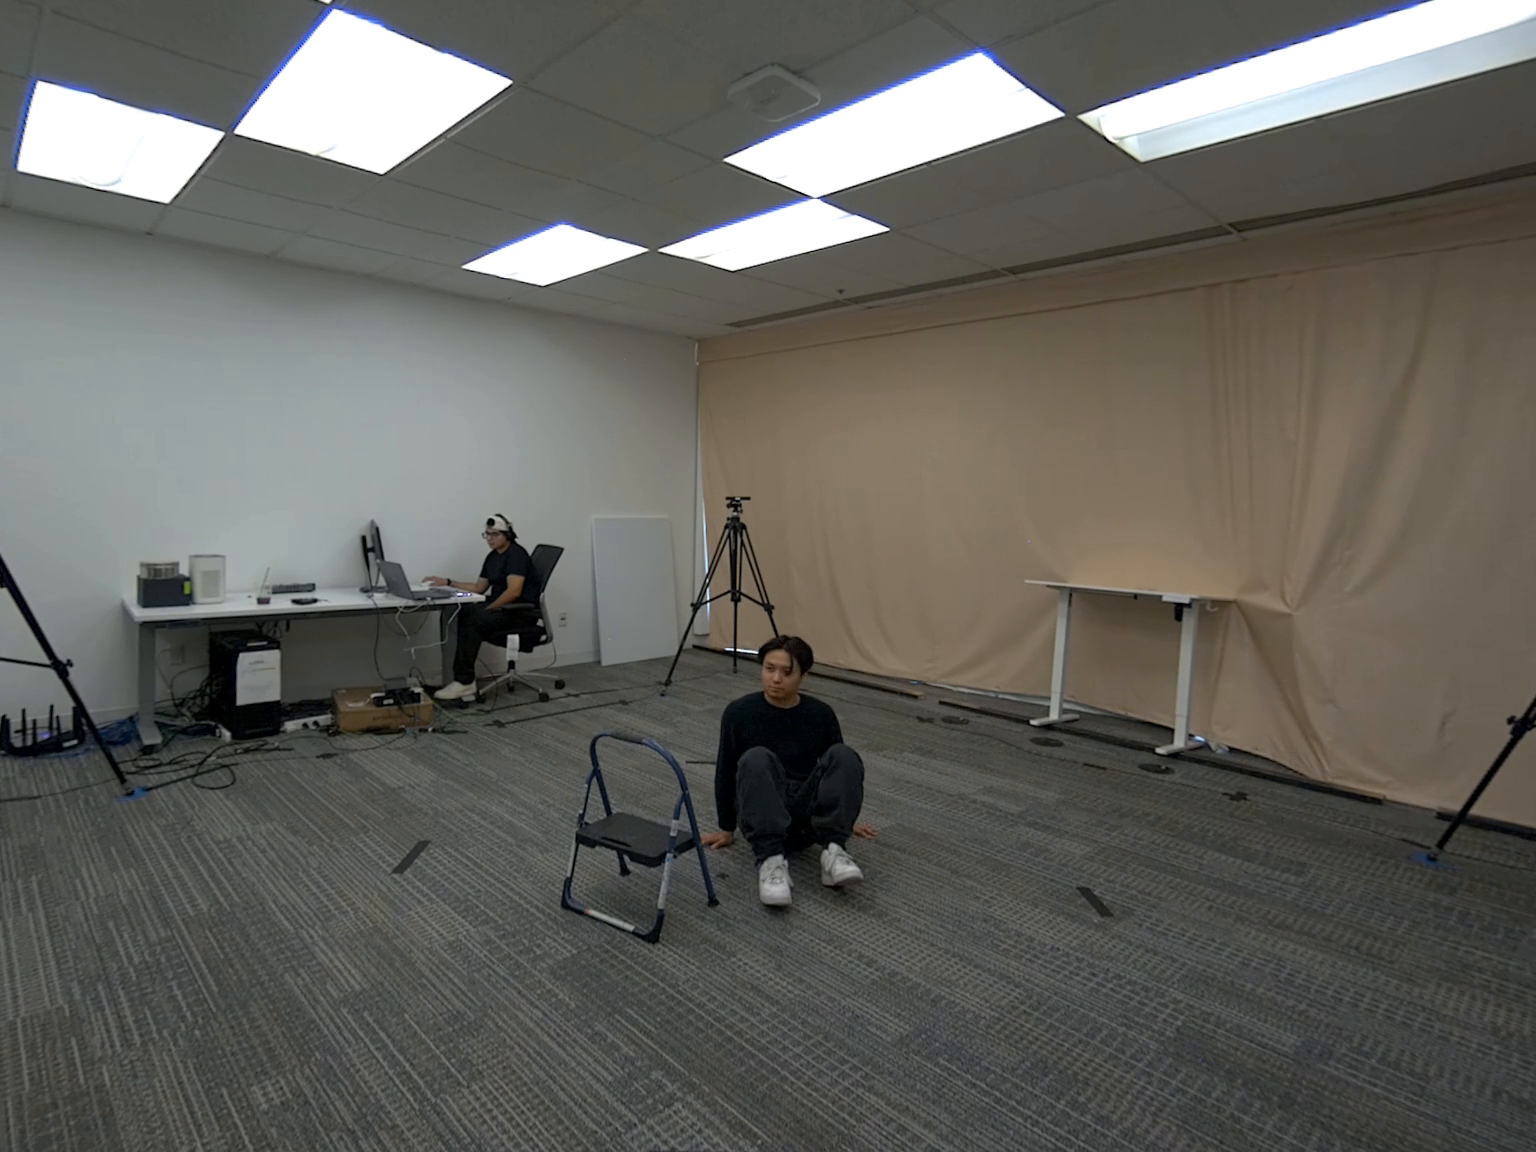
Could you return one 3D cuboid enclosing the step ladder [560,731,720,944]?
[{"bbox_3d":[-0.437,0.820,2.849,0.440,0.605,0.342,3,4,32],"label":"step ladder"}]
